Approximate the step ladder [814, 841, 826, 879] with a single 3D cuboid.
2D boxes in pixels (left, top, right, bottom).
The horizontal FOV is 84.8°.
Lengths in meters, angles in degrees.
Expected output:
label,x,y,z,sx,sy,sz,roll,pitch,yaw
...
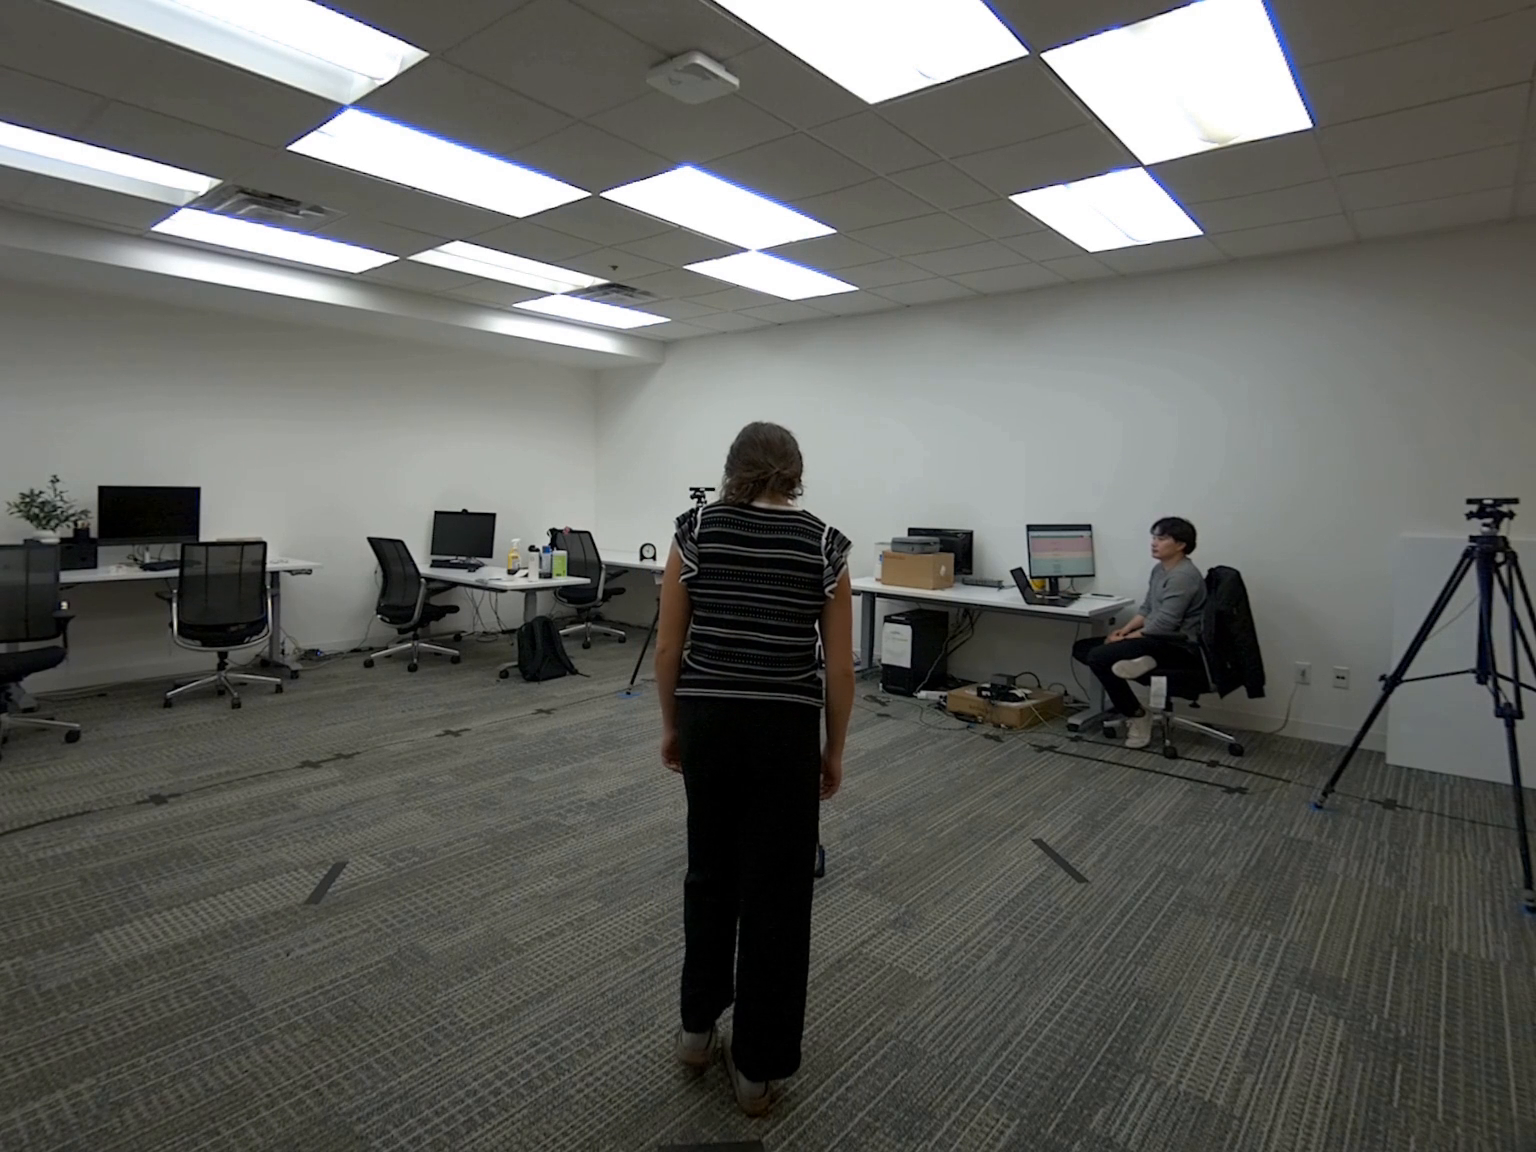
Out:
label,x,y,z,sx,sy,sz,roll,pitch,yaw
step ladder,-0.043,0.760,3.156,0.423,0.604,0.356,0,4,-17
